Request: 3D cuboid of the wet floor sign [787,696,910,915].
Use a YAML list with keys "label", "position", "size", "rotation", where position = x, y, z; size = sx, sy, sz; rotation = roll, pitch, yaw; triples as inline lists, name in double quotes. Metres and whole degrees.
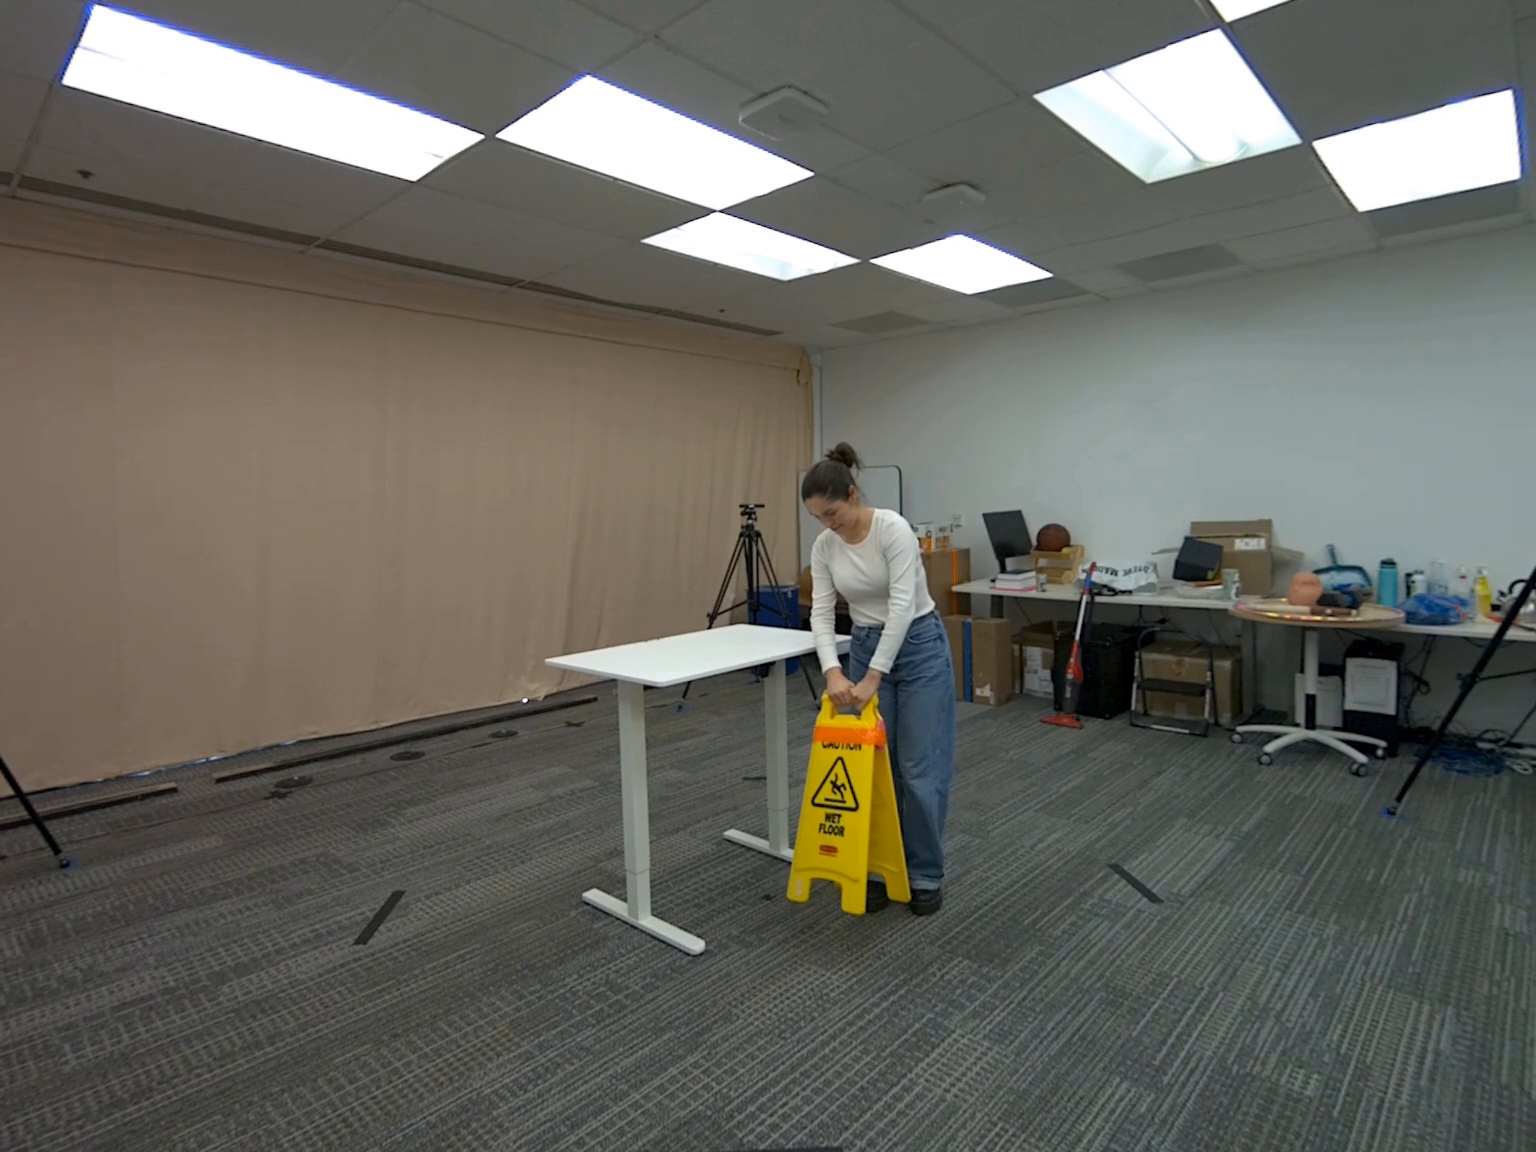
- label: "wet floor sign"
  position: [0.269, 0.689, 2.679]
  size: [0.290, 0.650, 0.279]
  rotation: [-7, -14, 40]
